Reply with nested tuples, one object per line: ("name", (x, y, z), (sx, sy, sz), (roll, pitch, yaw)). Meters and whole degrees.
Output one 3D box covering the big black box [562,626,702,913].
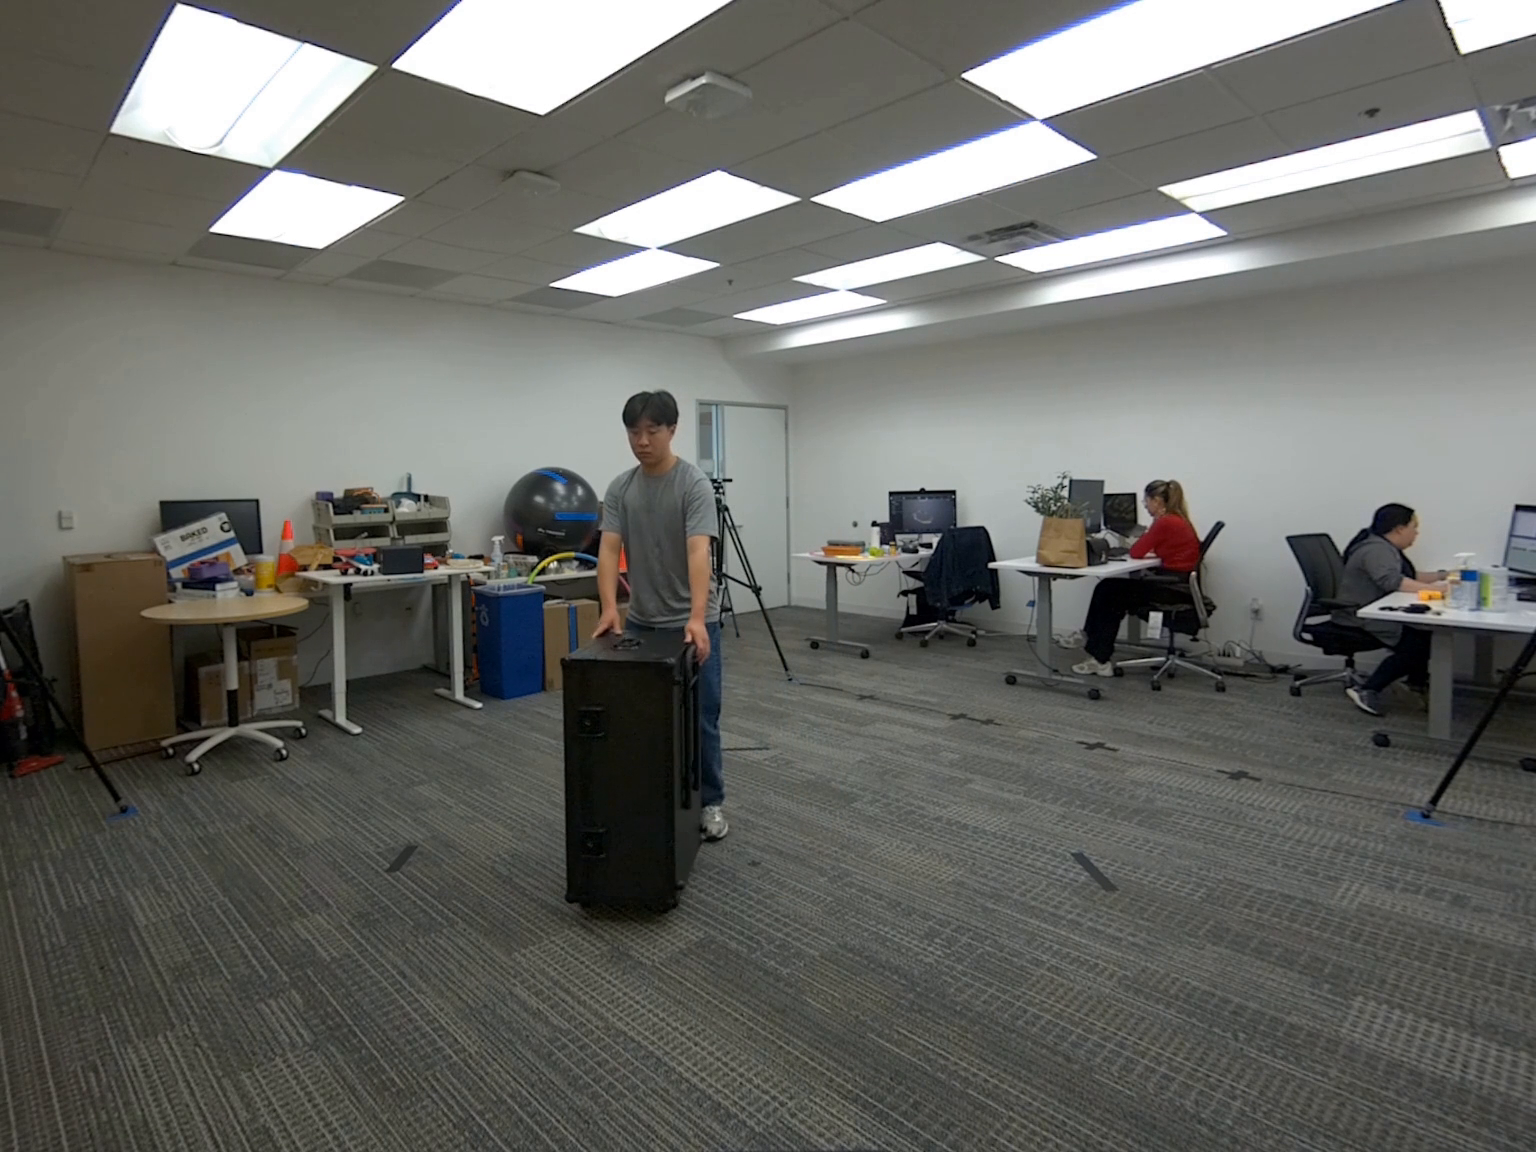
("big black box", (-0.434, 0.659, 2.891), (0.399, 0.858, 0.519), (1, 5, 7))
